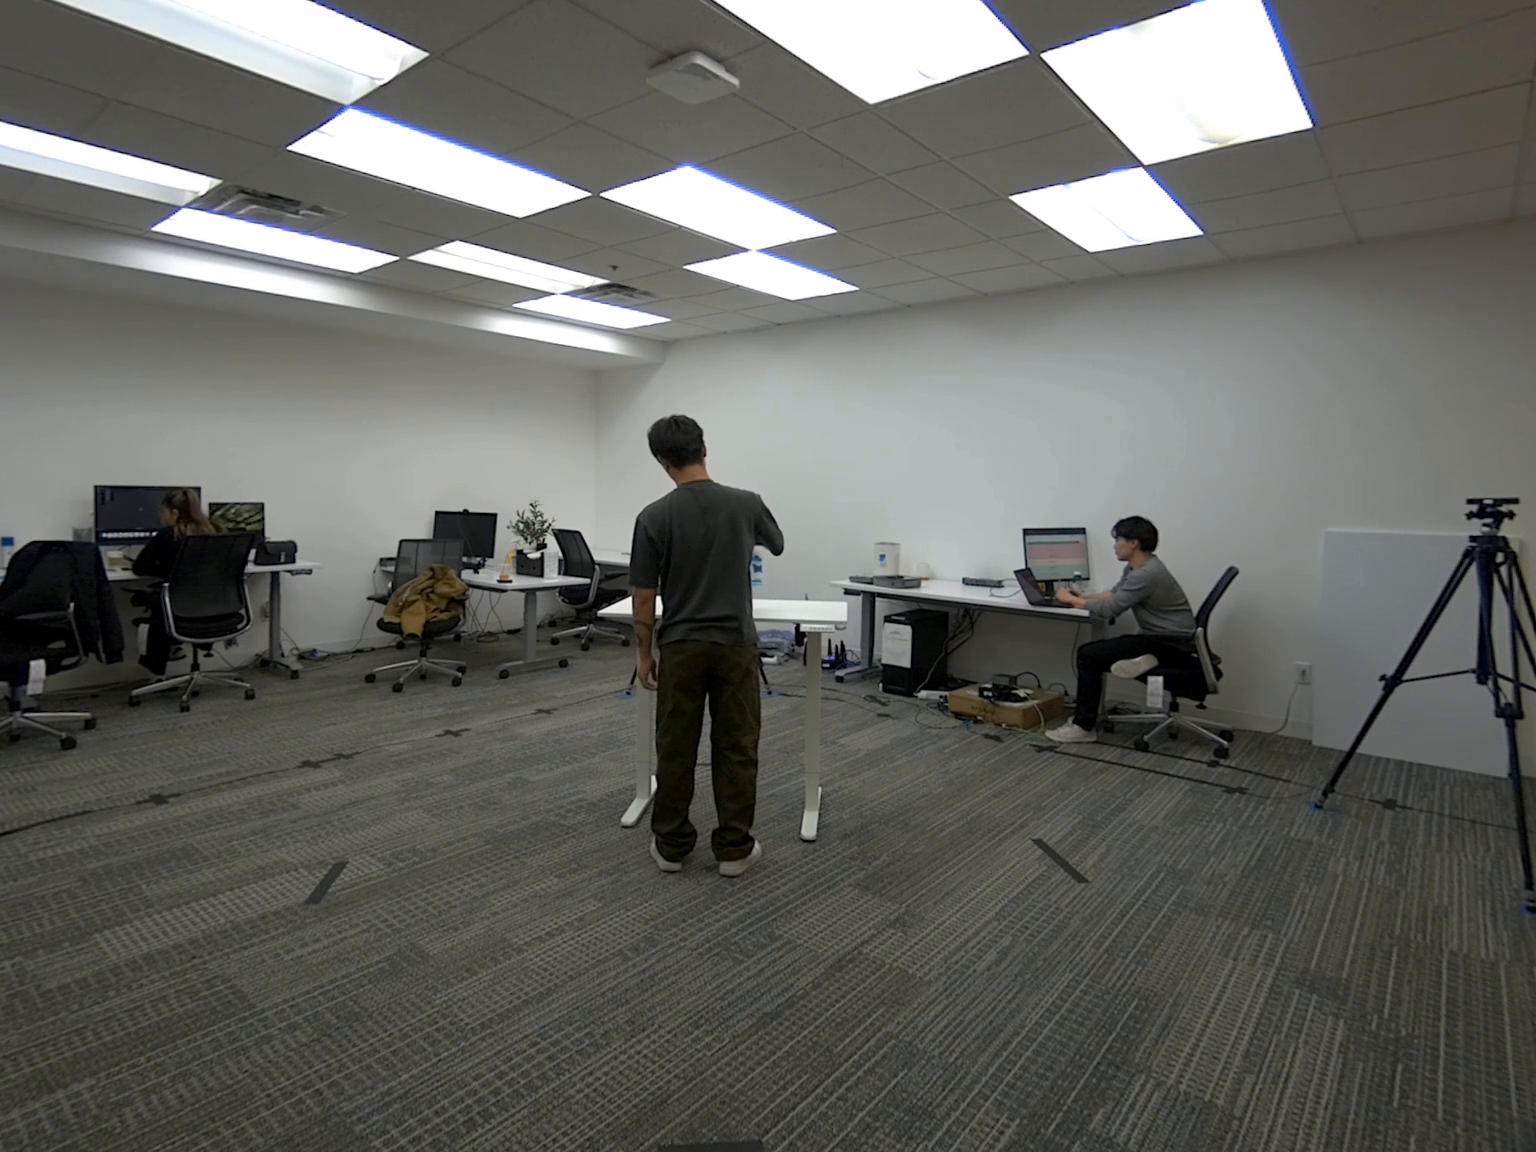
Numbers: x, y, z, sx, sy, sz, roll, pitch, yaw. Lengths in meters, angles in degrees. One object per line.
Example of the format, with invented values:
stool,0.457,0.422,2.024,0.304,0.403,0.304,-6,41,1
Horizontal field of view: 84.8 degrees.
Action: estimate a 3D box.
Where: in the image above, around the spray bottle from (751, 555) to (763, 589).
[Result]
spray bottle,-0.071,-0.106,3.630,0.089,0.297,0.088,2,0,25
